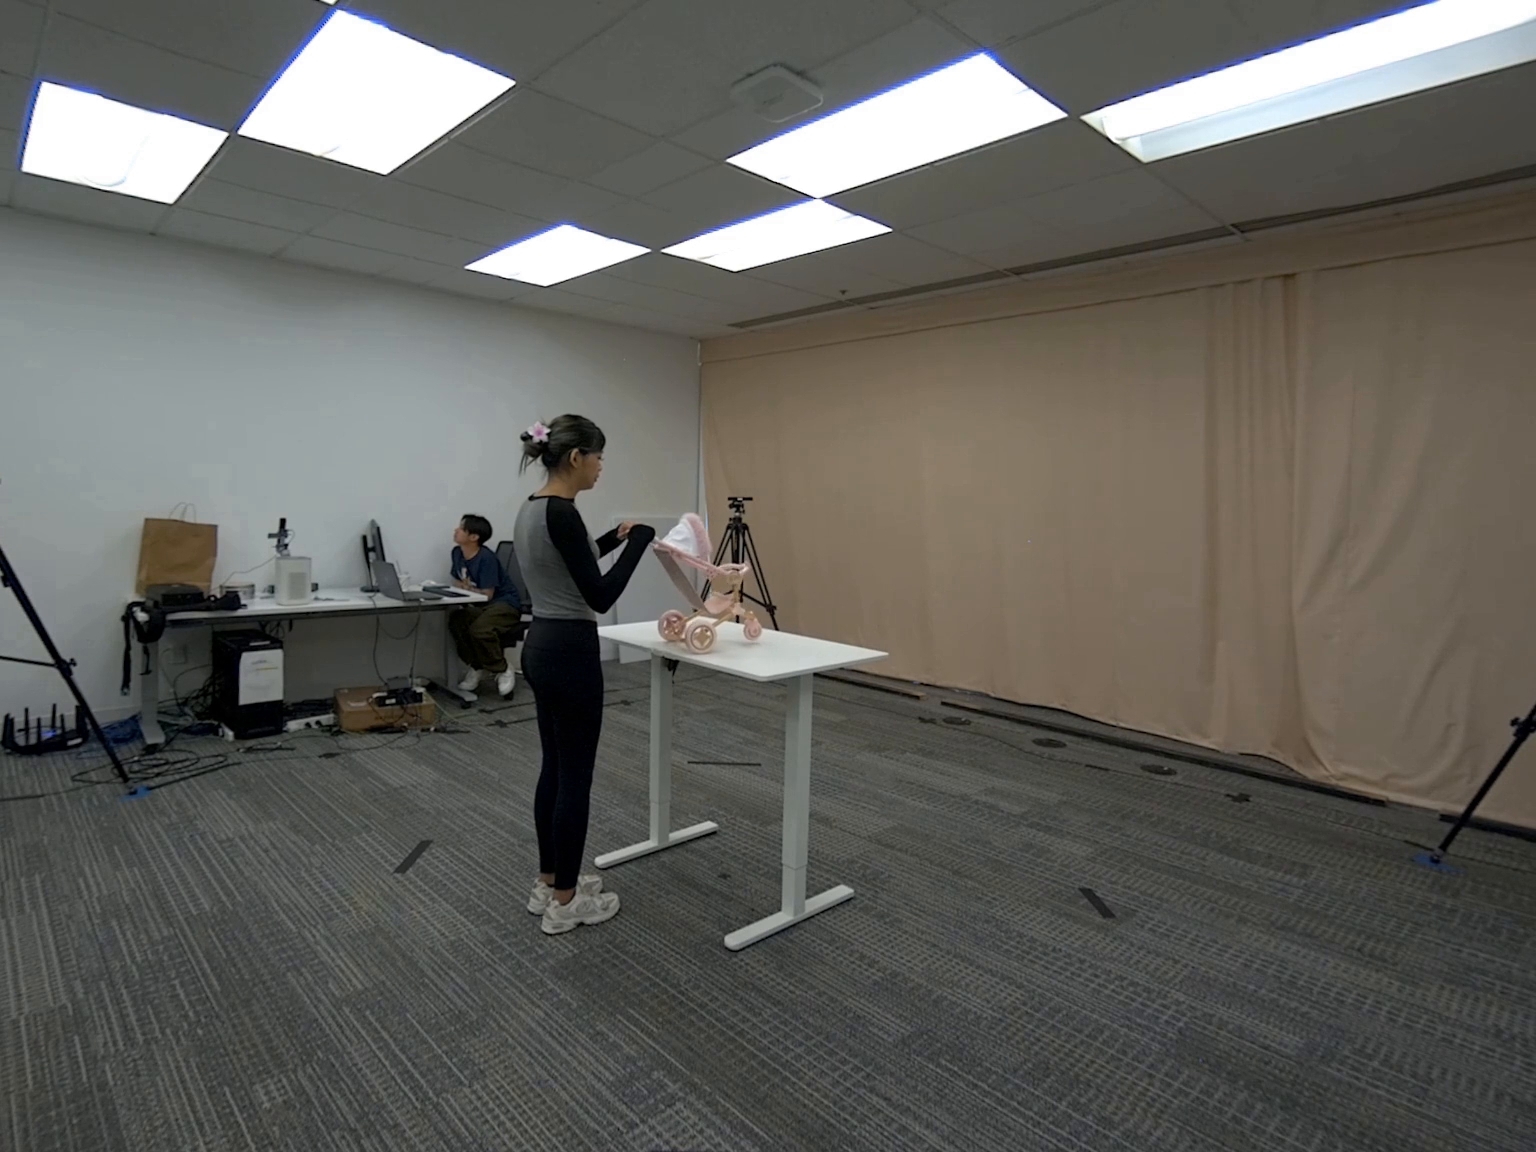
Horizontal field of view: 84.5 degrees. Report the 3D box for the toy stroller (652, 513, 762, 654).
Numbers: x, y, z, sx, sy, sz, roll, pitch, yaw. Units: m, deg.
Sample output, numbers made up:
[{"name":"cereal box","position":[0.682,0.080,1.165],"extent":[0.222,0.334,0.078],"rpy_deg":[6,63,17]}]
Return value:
[{"name":"toy stroller","position":[-0.238,0.021,2.877],"extent":[0.338,0.530,0.287],"rpy_deg":[-20,12,-20]}]
